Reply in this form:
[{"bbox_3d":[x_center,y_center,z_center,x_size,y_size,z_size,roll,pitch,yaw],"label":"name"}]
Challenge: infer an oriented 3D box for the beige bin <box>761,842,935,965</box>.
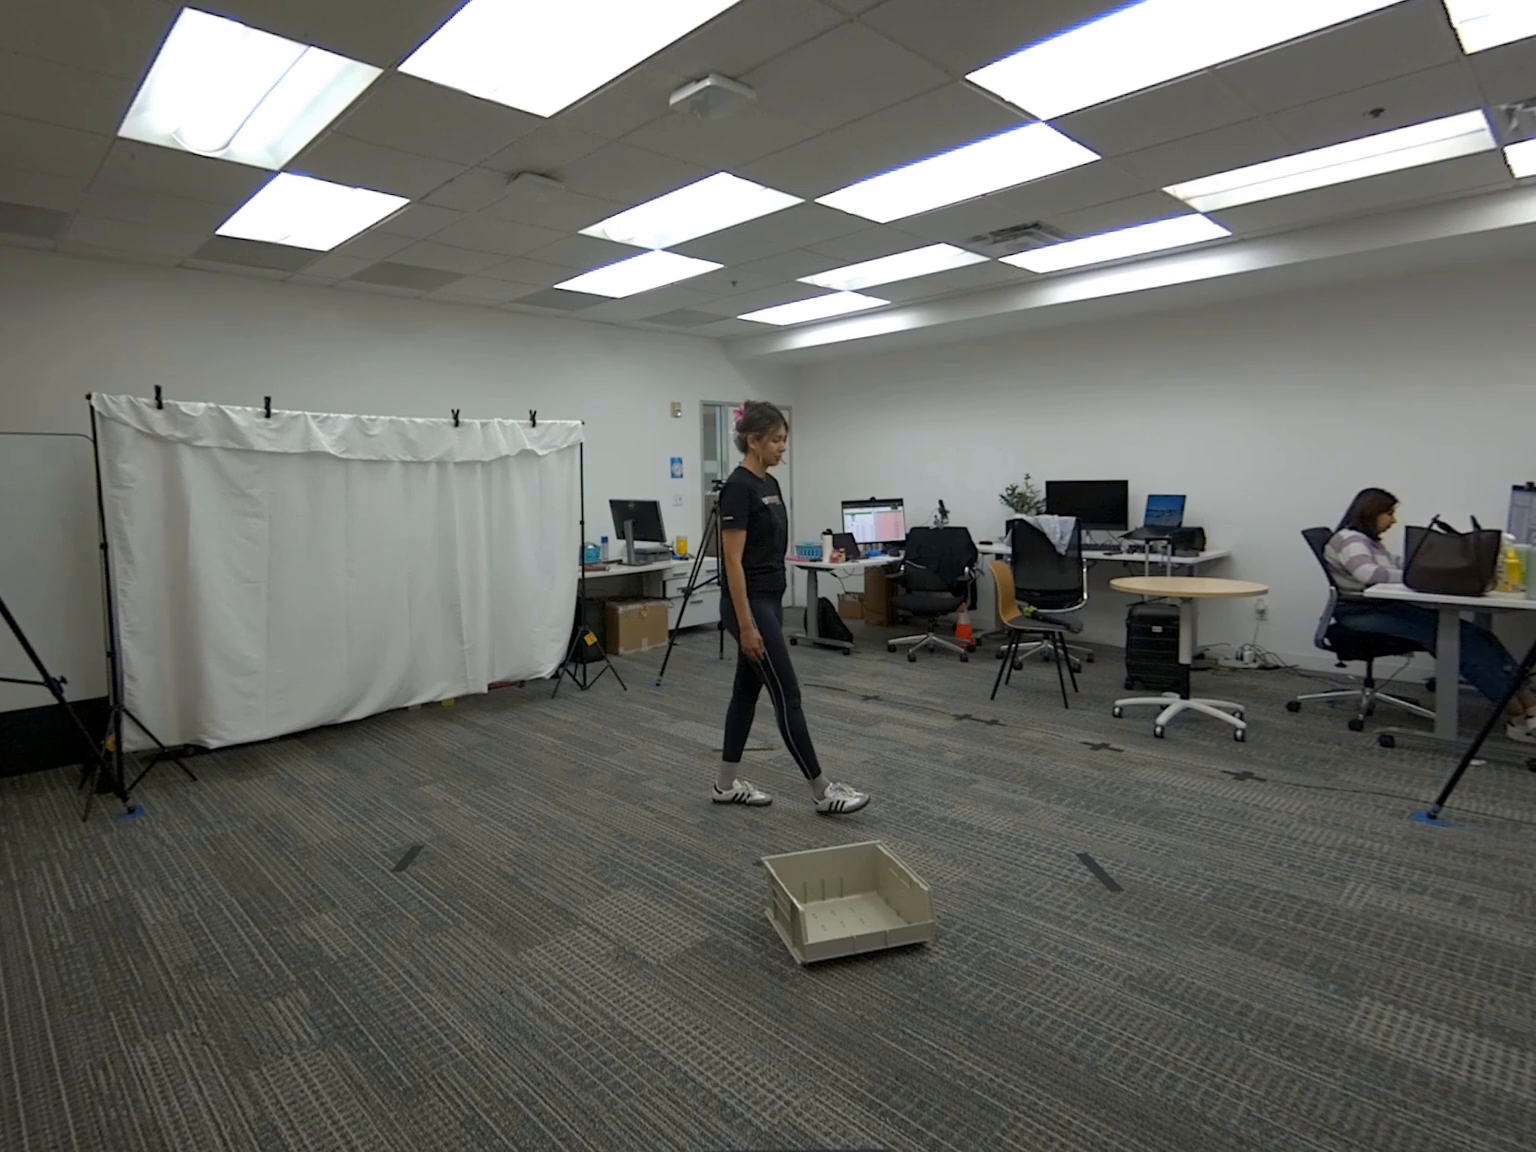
[{"bbox_3d":[0.251,1.016,2.625,0.416,0.188,0.384,-3,5,-17],"label":"beige bin"}]
